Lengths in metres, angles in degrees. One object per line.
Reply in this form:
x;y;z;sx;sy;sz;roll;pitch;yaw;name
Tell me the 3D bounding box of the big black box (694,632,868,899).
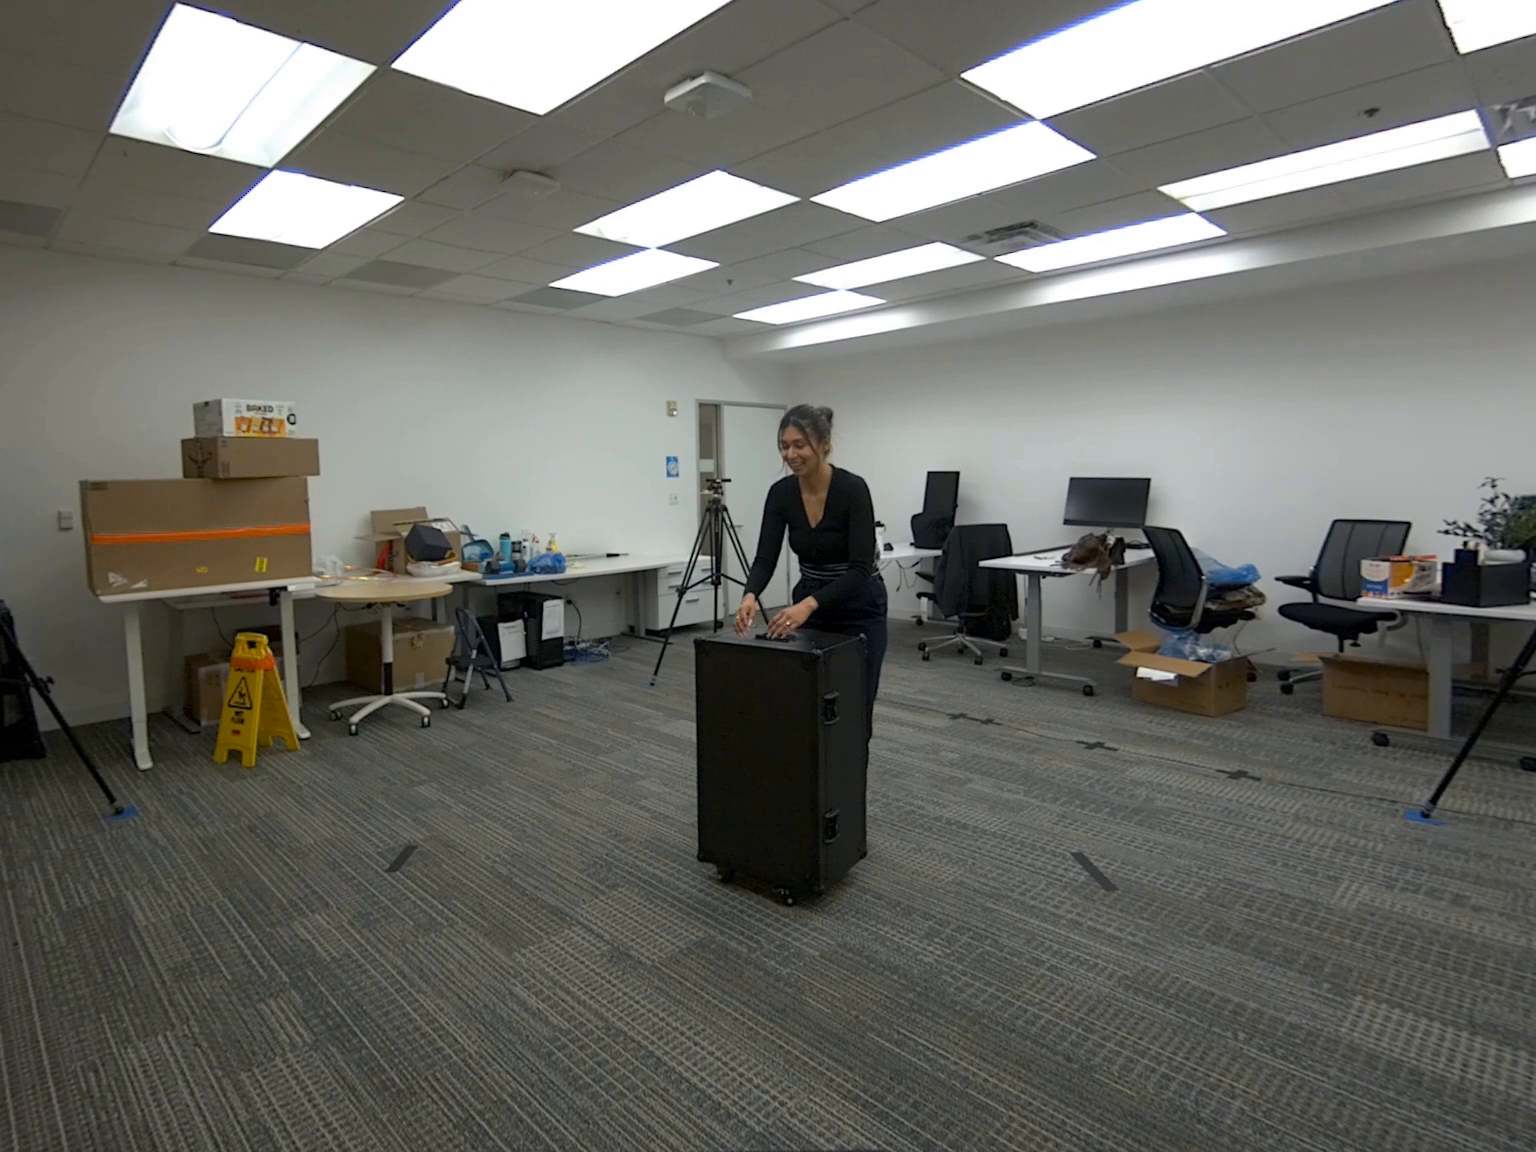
0.049;0.631;2.972;0.536;0.860;0.386;1;3;33;big black box
